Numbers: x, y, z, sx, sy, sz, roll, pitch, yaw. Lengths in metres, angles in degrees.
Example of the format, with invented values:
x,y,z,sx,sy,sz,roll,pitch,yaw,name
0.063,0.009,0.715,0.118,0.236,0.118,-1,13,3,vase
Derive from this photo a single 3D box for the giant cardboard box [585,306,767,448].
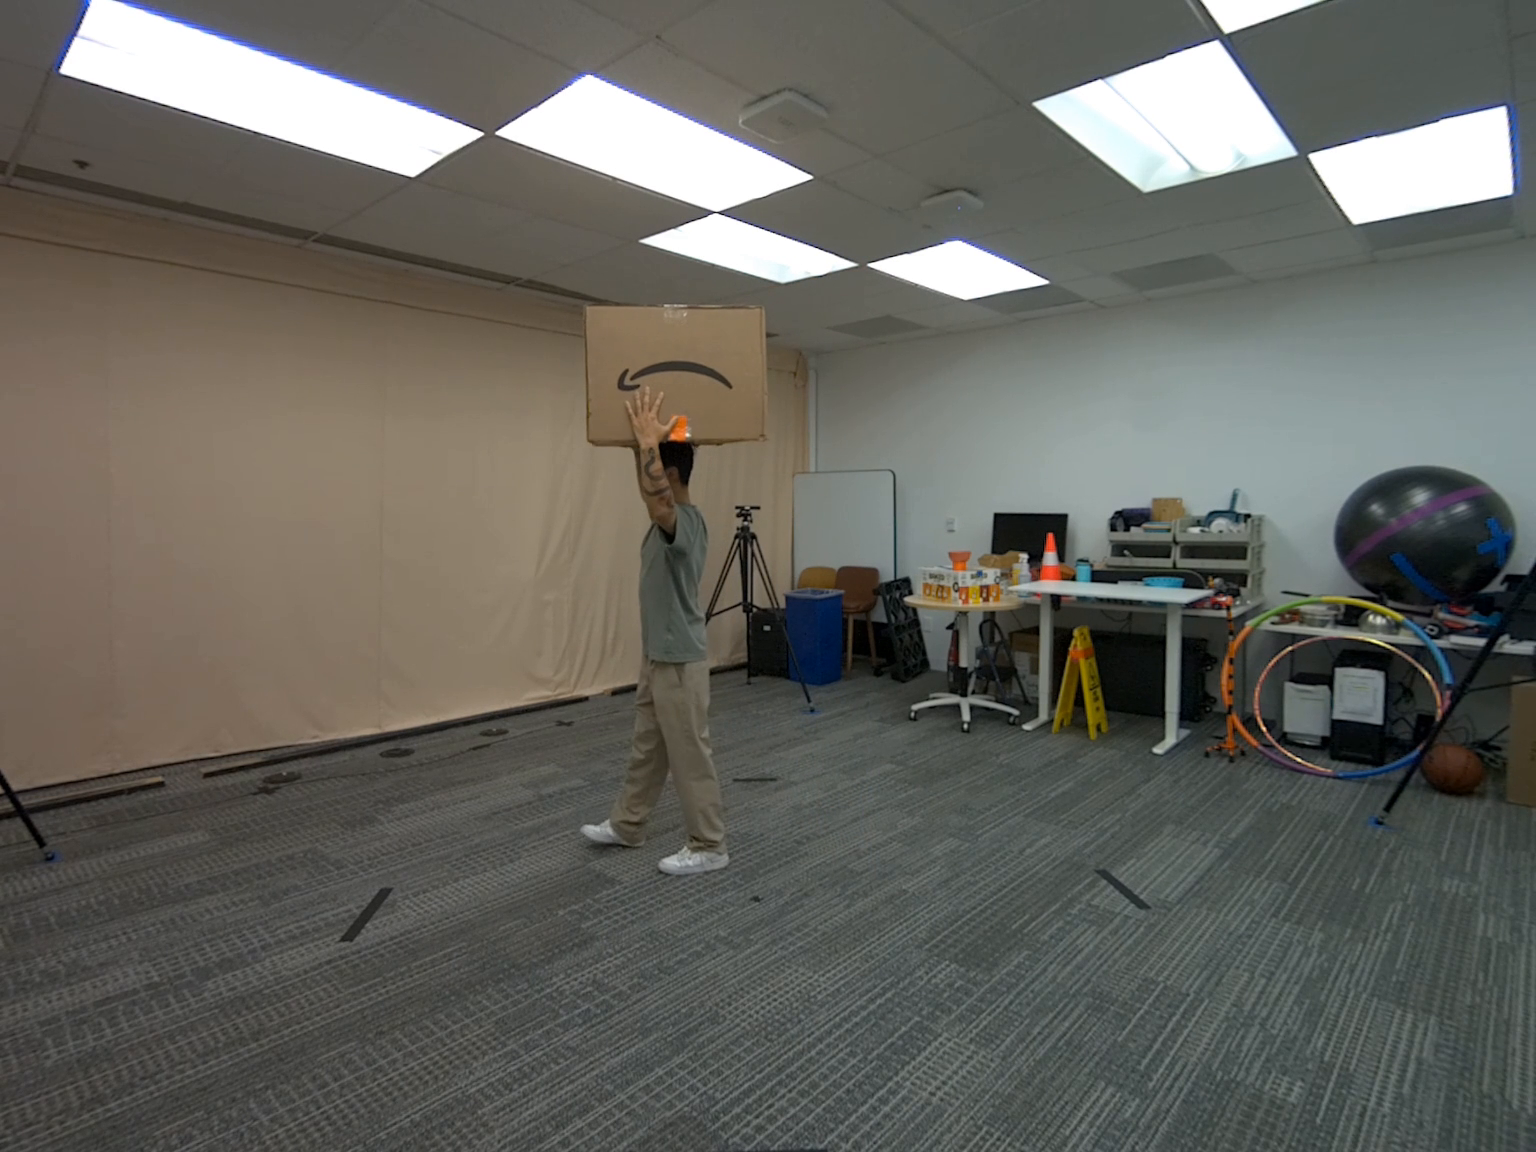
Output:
x,y,z,sx,sy,sz,roll,pitch,yaw,name
-0.382,-0.712,3.172,0.572,0.424,1.040,-2,8,-9,giant cardboard box
